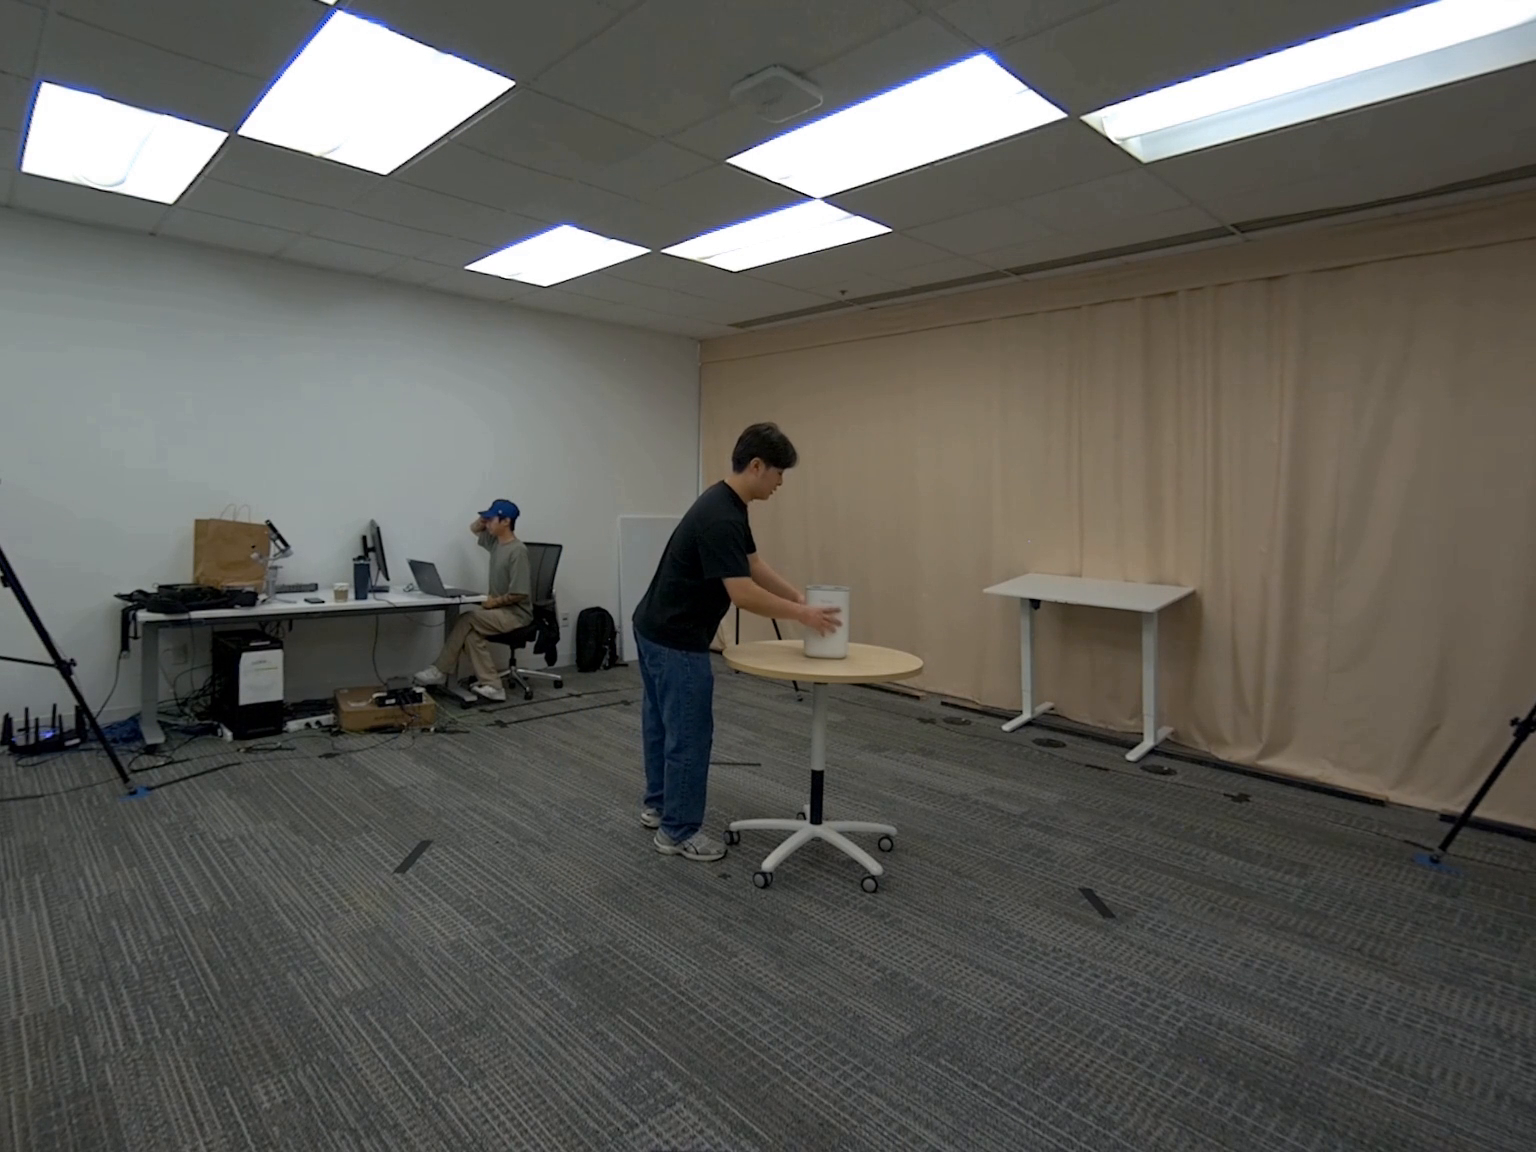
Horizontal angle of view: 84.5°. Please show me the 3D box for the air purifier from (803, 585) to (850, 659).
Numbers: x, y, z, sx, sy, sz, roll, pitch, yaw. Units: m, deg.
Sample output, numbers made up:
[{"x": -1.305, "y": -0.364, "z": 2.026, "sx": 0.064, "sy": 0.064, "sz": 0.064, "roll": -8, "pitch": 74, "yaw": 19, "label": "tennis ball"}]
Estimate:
[{"x": 0.217, "y": 0.176, "z": 3.249, "sx": 0.172, "sy": 0.265, "sz": 0.171, "roll": 3, "pitch": 2, "yaw": 7, "label": "air purifier"}]
